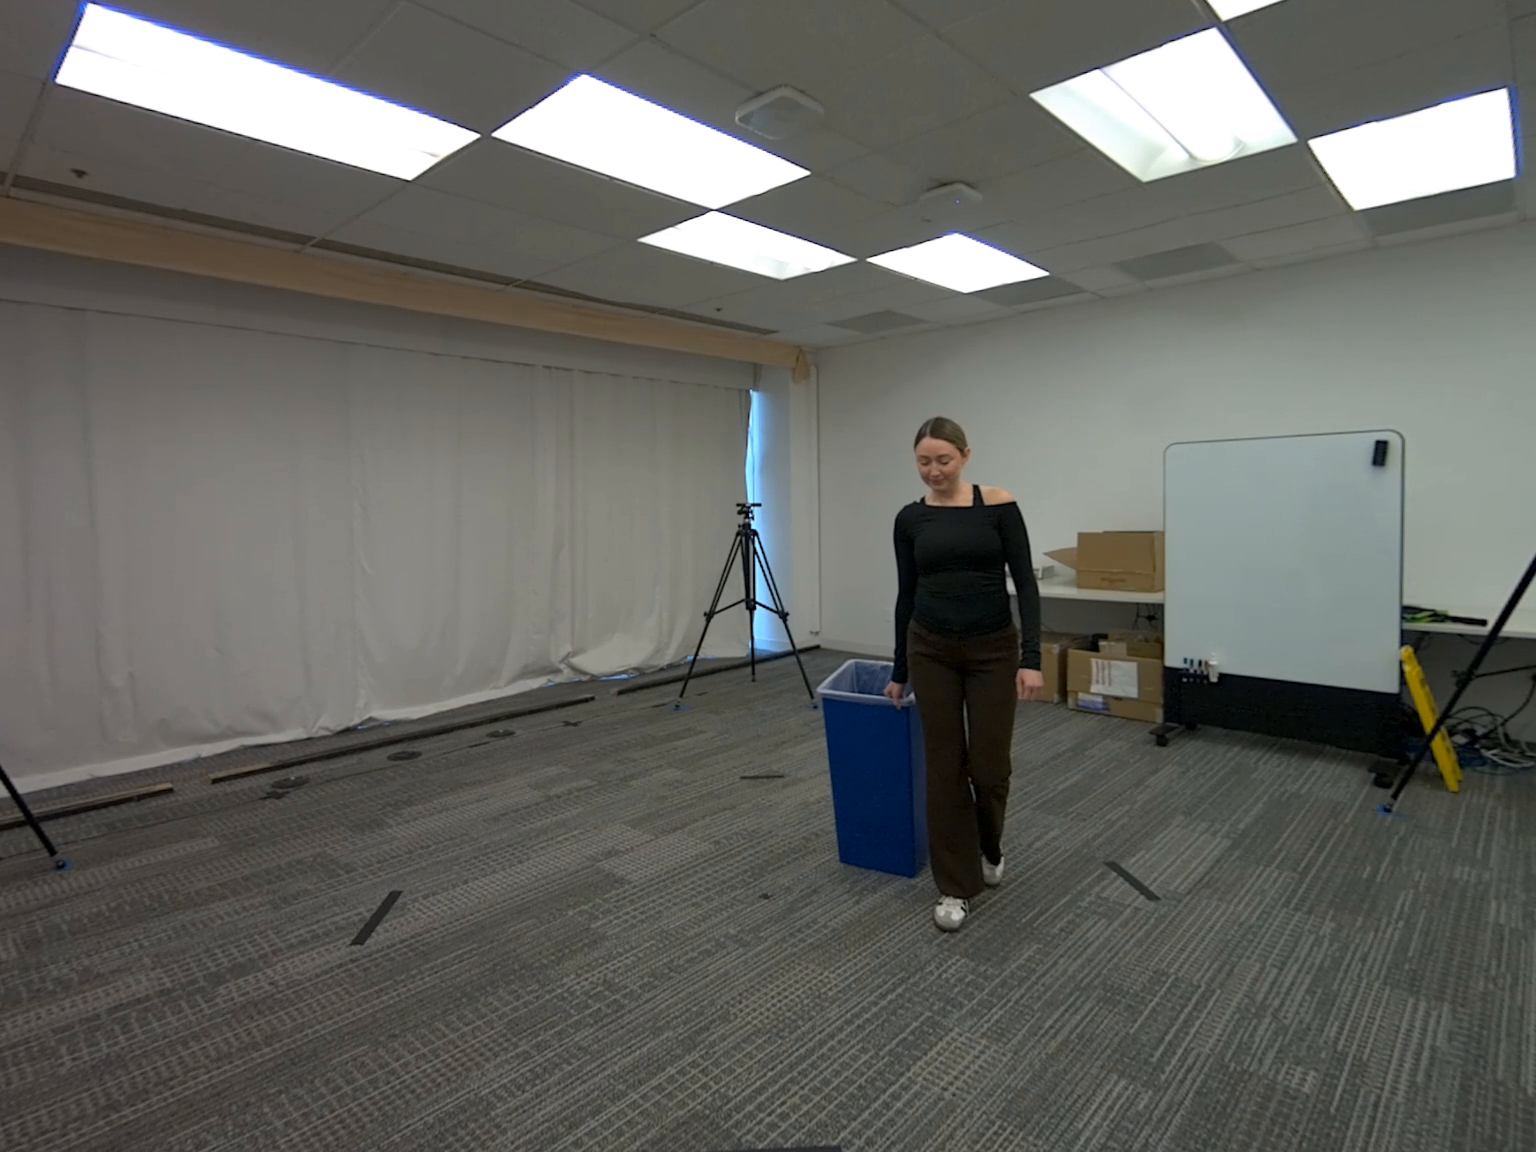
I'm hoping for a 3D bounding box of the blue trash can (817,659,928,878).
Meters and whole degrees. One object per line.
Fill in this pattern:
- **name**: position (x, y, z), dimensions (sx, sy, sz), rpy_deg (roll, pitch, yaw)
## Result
- **blue trash can**: position (0.442, 0.731, 3.226), dimensions (0.388, 0.708, 0.366), rpy_deg (1, 12, 28)
